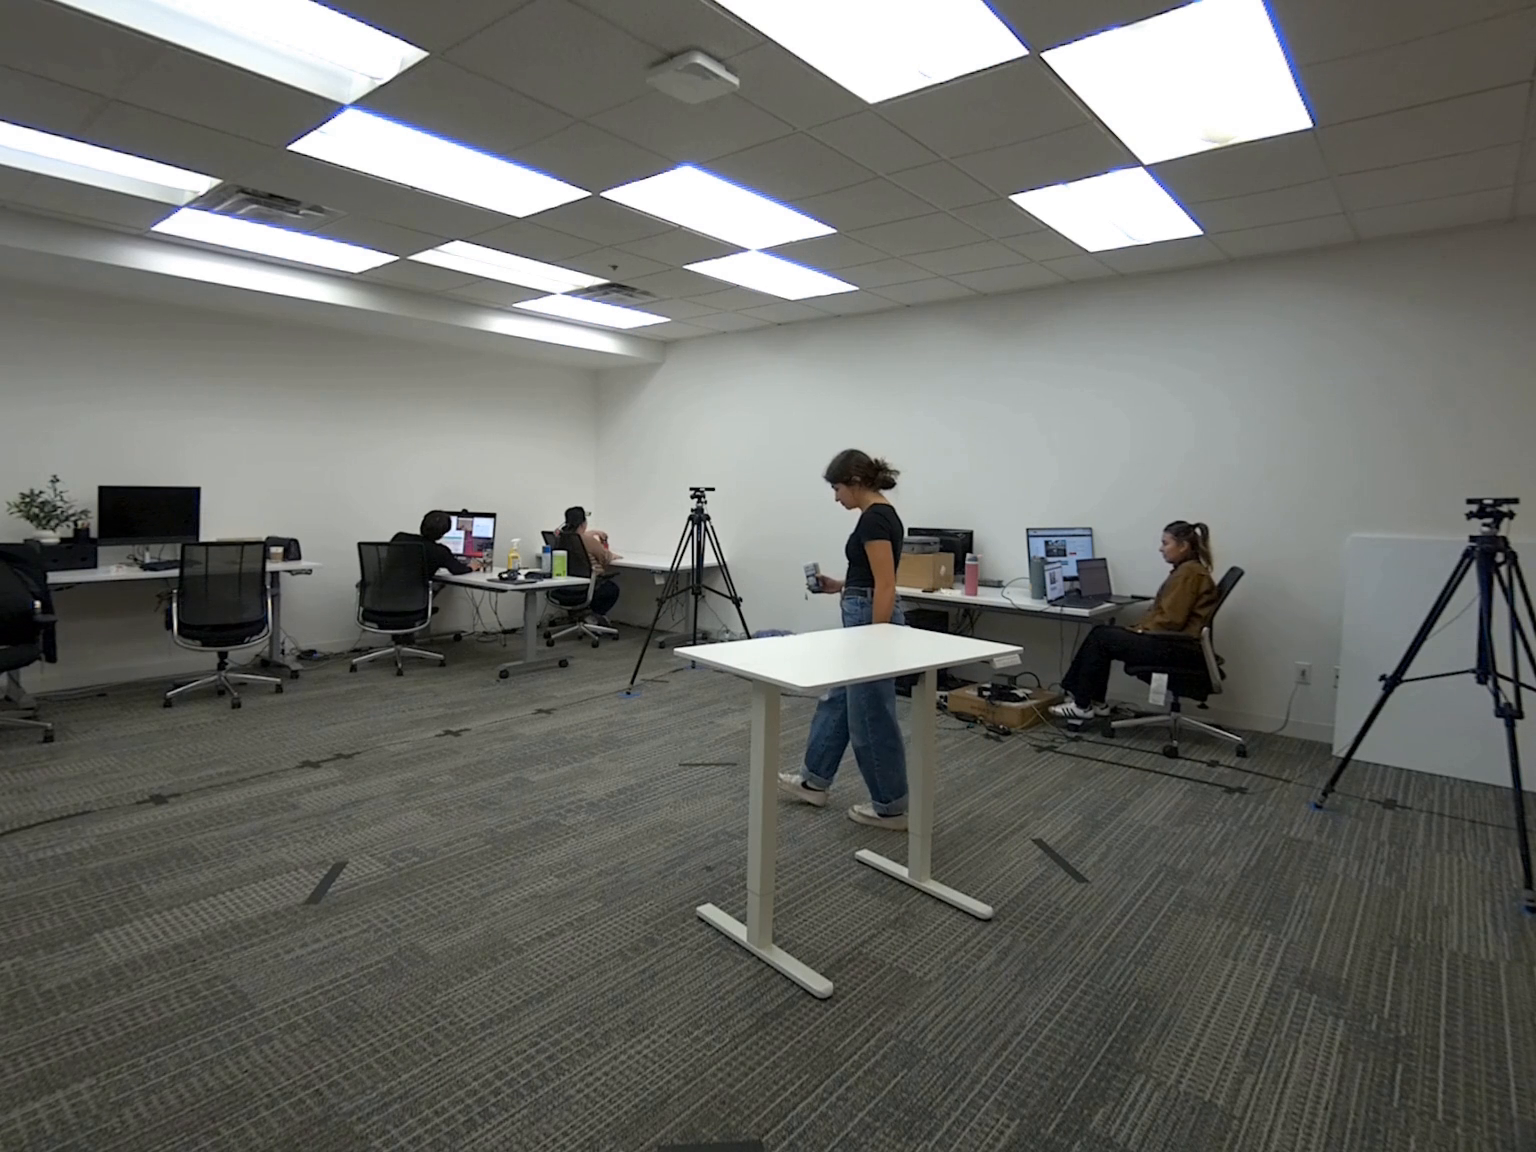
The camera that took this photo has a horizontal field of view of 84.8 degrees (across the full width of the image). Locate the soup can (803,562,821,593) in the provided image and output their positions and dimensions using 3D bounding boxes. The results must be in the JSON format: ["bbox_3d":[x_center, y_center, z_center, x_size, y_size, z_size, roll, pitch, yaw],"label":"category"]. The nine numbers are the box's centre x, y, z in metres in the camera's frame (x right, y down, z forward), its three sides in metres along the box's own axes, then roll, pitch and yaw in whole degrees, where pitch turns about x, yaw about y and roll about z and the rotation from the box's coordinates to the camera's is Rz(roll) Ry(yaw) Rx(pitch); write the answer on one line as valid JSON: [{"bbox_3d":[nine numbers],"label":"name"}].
[{"bbox_3d":[0.195,-0.004,3.768,0.067,0.123,0.066,-9,-14,-4],"label":"soup can"}]
